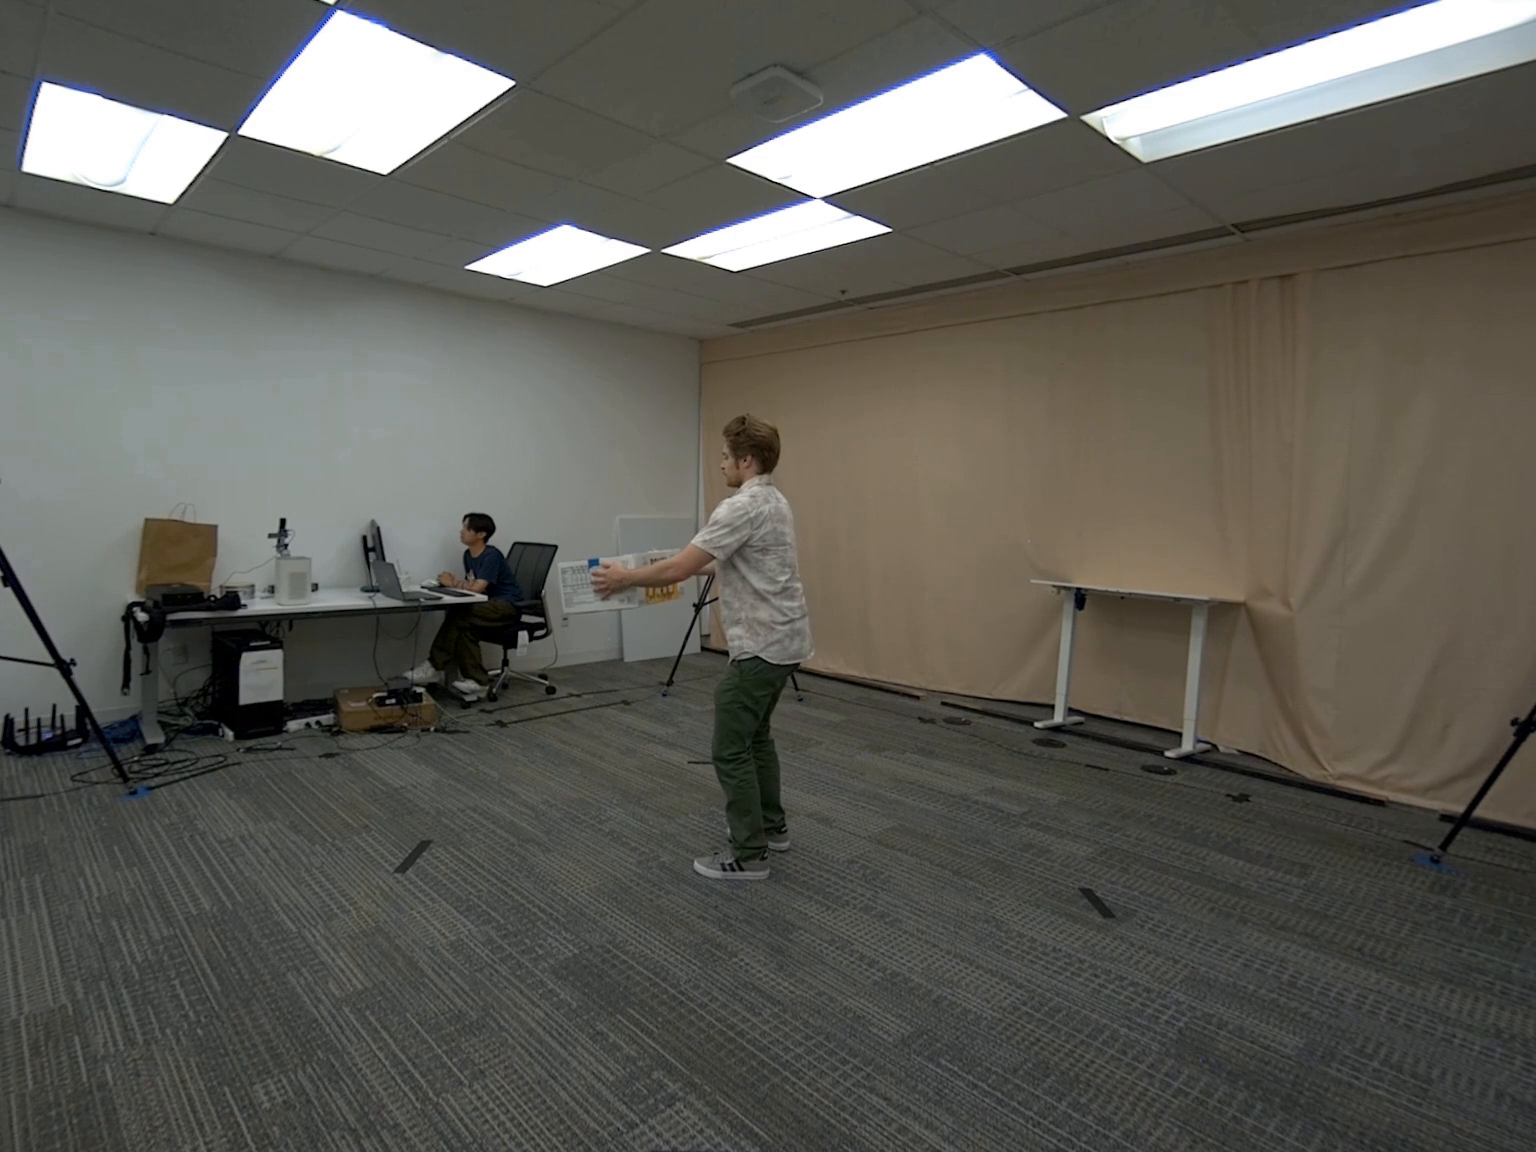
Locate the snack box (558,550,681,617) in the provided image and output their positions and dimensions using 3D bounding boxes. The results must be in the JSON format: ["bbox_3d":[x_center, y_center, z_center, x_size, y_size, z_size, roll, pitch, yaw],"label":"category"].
[{"bbox_3d":[-0.579,0.019,3.389,0.345,0.205,0.400,-6,2,20],"label":"snack box"}]
